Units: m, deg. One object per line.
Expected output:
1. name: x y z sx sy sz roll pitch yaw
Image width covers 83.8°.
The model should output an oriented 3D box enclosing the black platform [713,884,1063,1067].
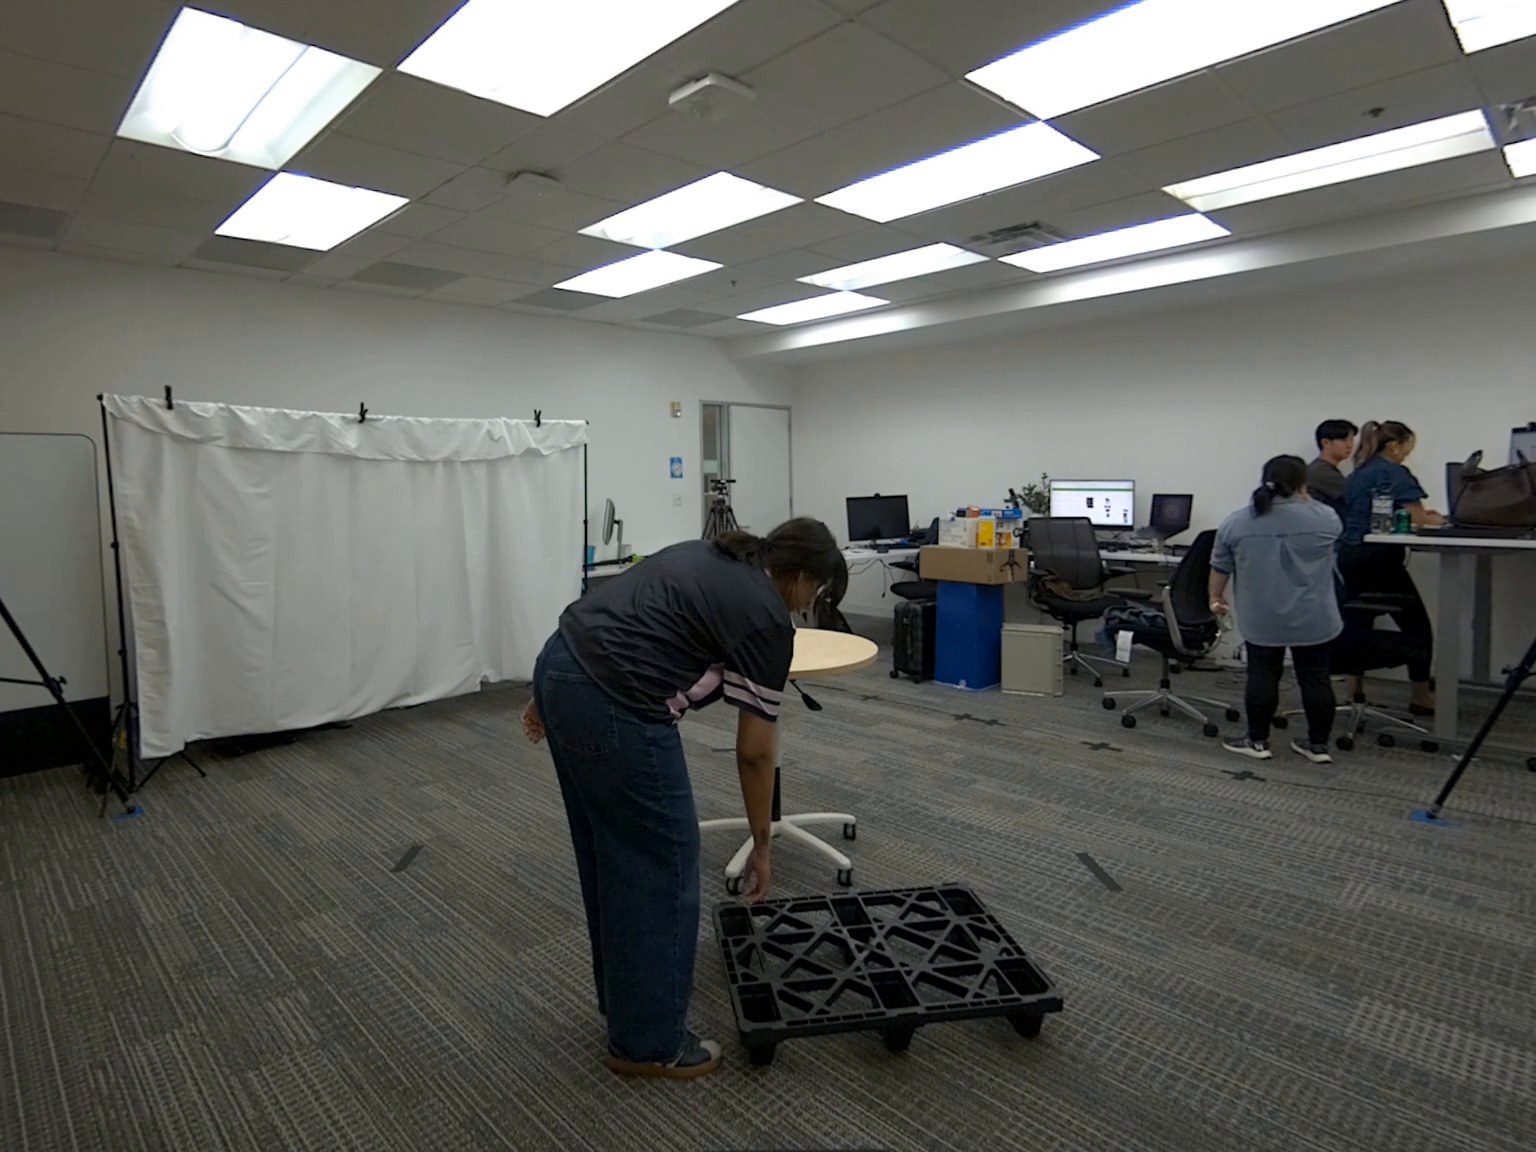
1. black platform: 0.278 1.065 2.317 0.799 0.143 0.612 -2 6 -8
